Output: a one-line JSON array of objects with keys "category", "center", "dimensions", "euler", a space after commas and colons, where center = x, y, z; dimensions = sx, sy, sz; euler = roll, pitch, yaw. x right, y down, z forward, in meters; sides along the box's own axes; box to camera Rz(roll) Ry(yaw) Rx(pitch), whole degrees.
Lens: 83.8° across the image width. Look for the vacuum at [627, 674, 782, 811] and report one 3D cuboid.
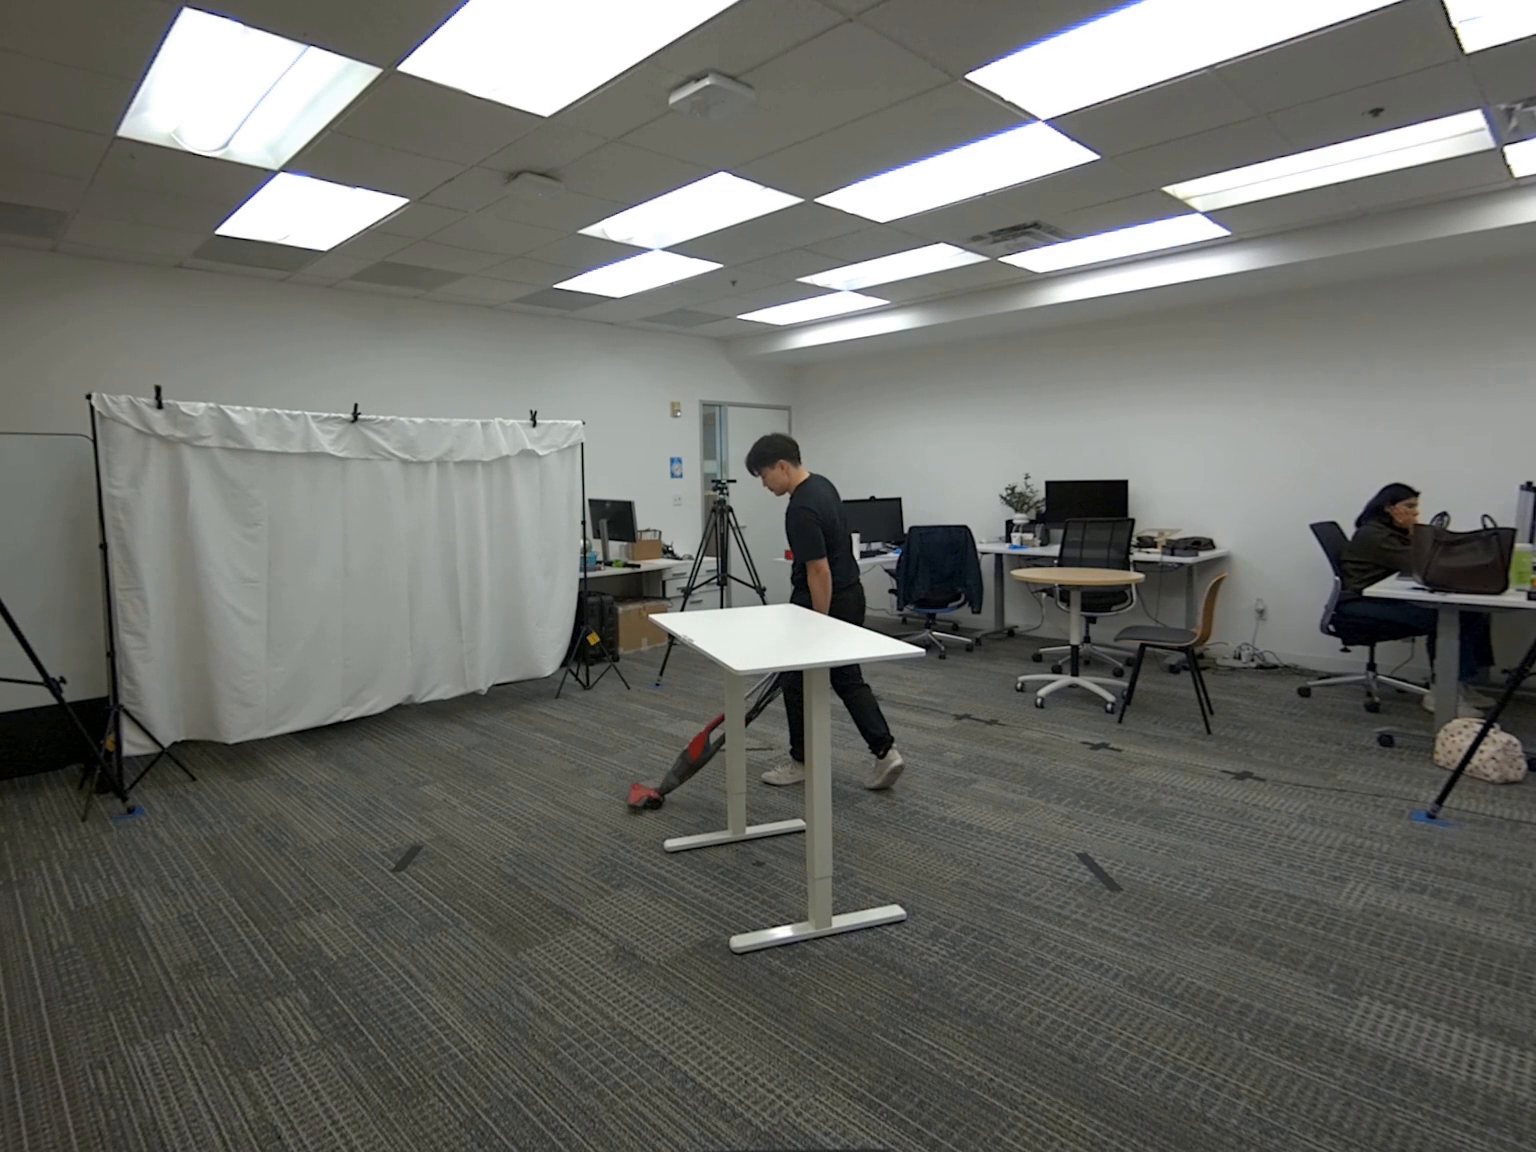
[{"category": "vacuum", "center": [-0.143, 0.631, 3.700], "dimensions": [1.049, 0.143, 0.255], "euler": [-41, 8, 0]}]
